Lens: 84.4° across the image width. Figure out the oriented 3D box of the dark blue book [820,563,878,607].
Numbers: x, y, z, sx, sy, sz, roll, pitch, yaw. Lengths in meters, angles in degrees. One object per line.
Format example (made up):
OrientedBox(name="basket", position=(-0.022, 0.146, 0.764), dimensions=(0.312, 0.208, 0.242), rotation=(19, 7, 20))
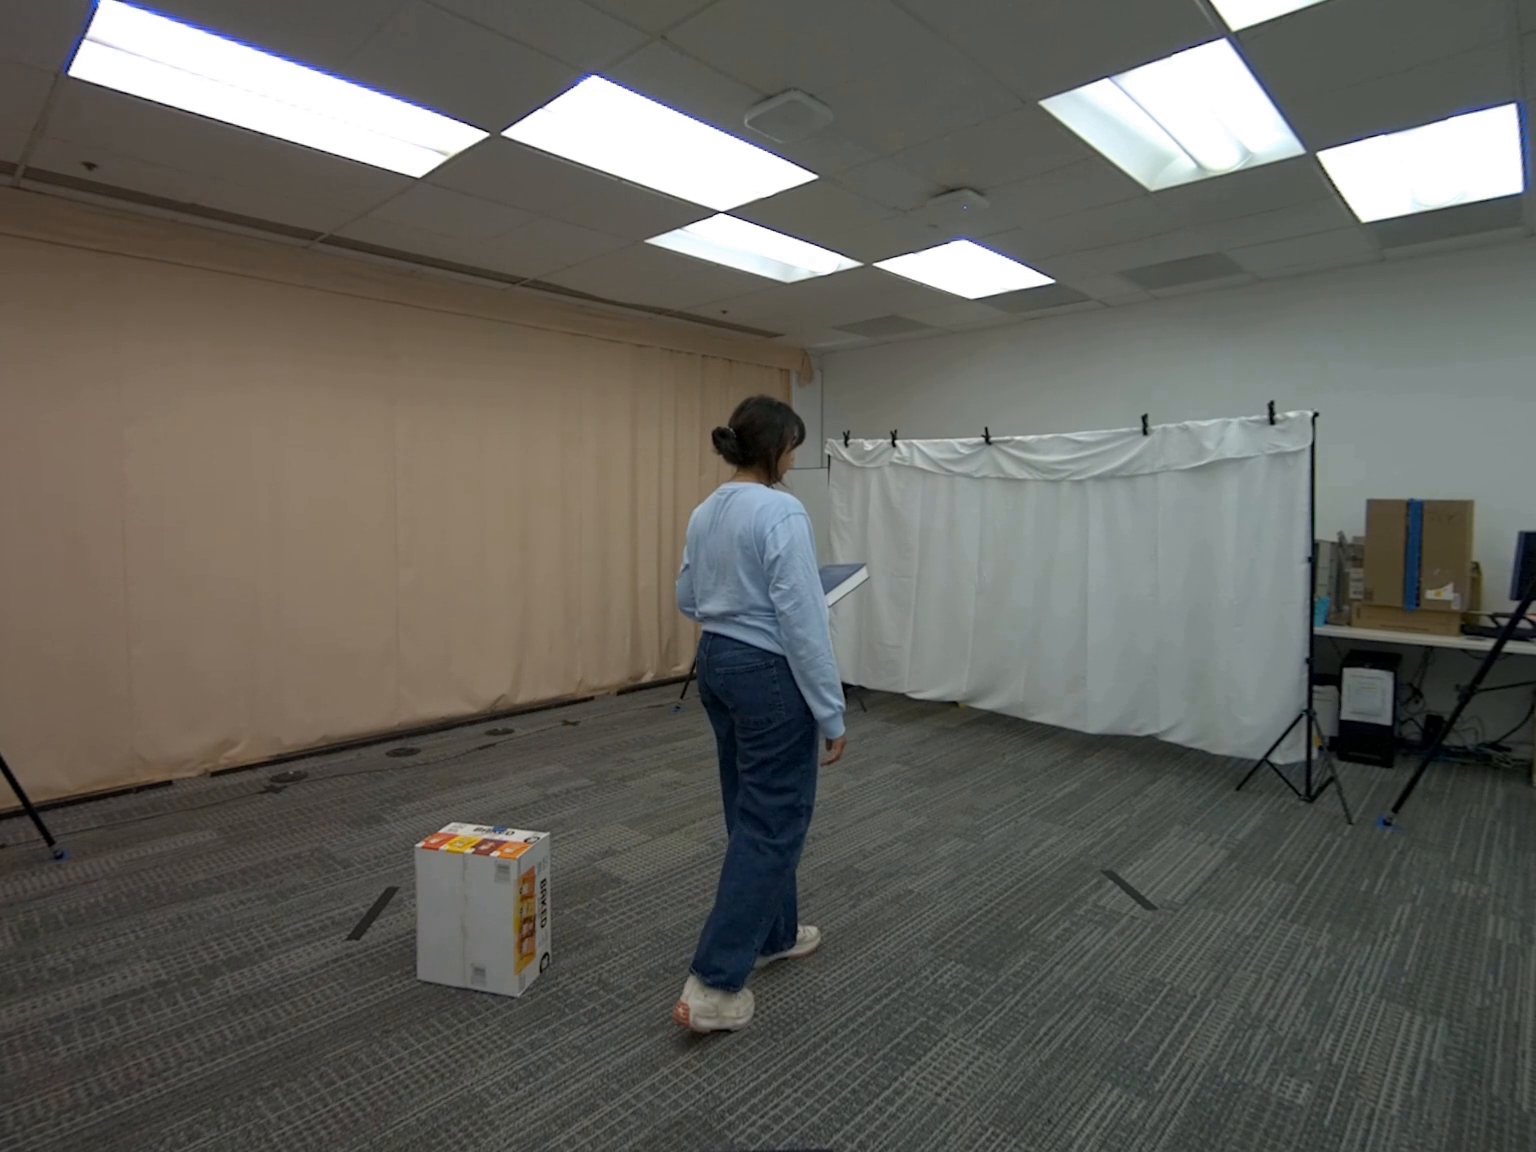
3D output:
OrientedBox(name="dark blue book", position=(0.207, 0.027, 2.641), dimensions=(0.168, 0.044, 0.240), rotation=(-3, 19, 39))
